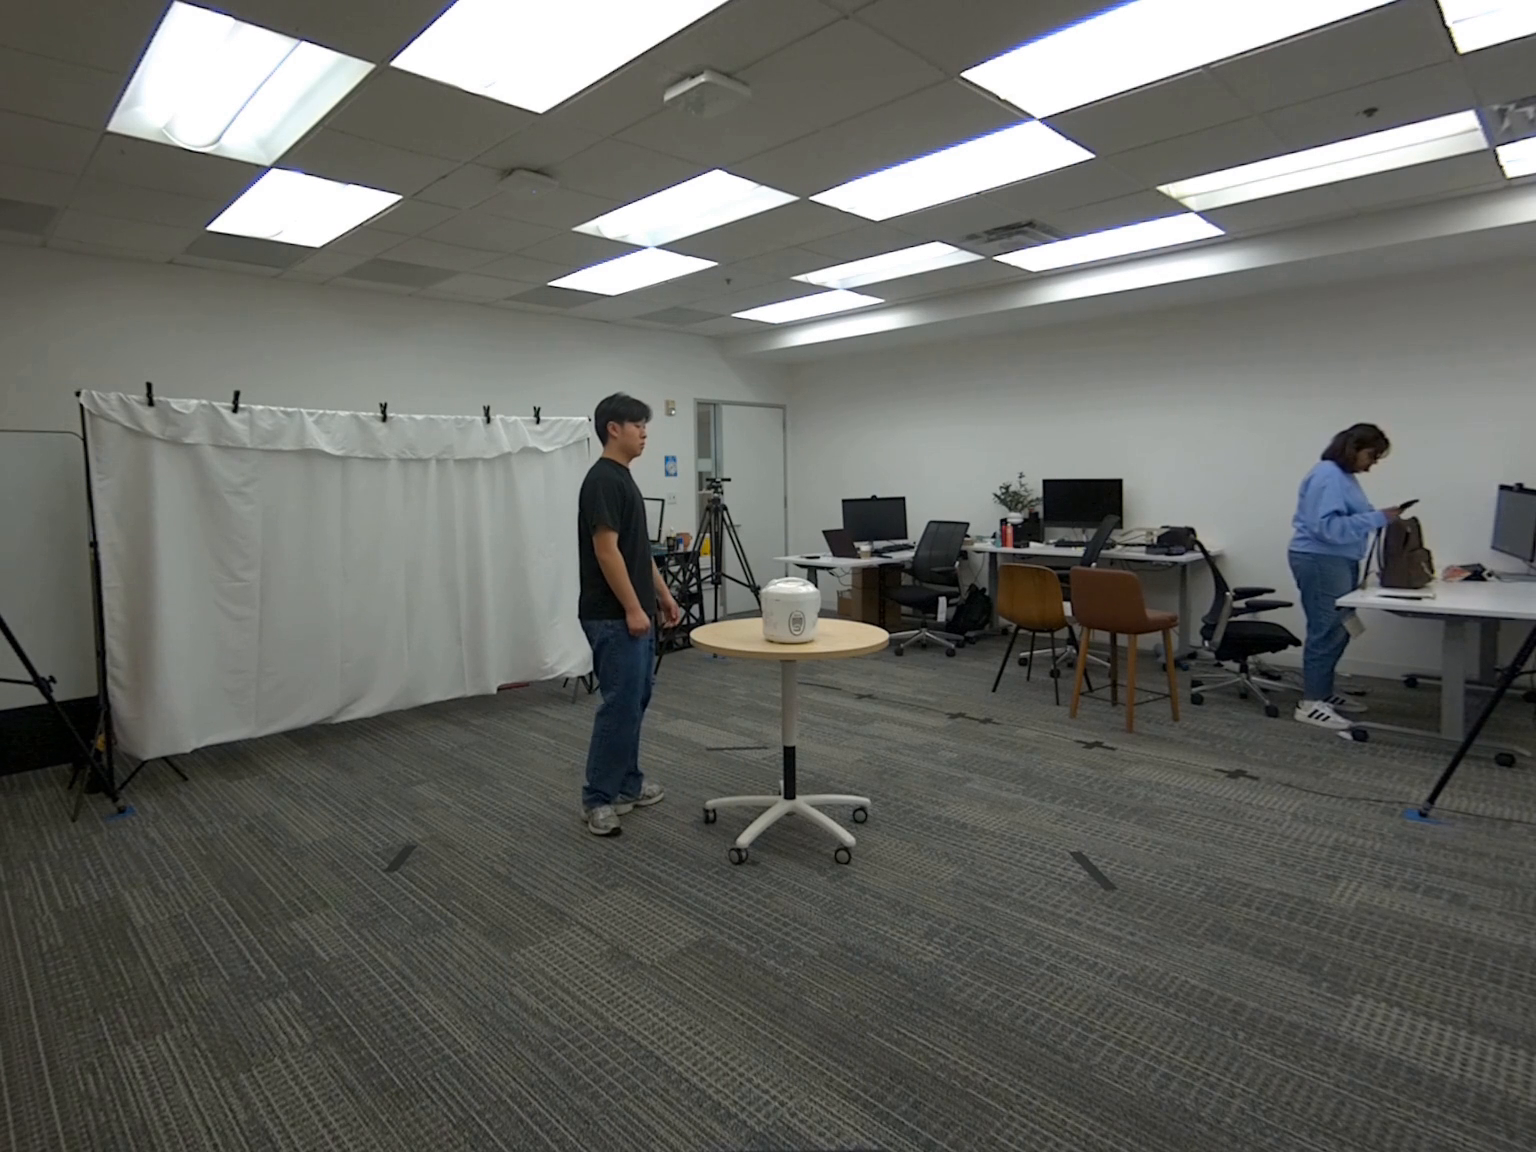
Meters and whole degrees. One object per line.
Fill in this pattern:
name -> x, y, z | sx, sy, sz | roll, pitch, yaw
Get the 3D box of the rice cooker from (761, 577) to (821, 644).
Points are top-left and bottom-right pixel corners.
rice cooker -> 0.087, 0.119, 3.155 | 0.218, 0.232, 0.220 | -1, 5, -11
